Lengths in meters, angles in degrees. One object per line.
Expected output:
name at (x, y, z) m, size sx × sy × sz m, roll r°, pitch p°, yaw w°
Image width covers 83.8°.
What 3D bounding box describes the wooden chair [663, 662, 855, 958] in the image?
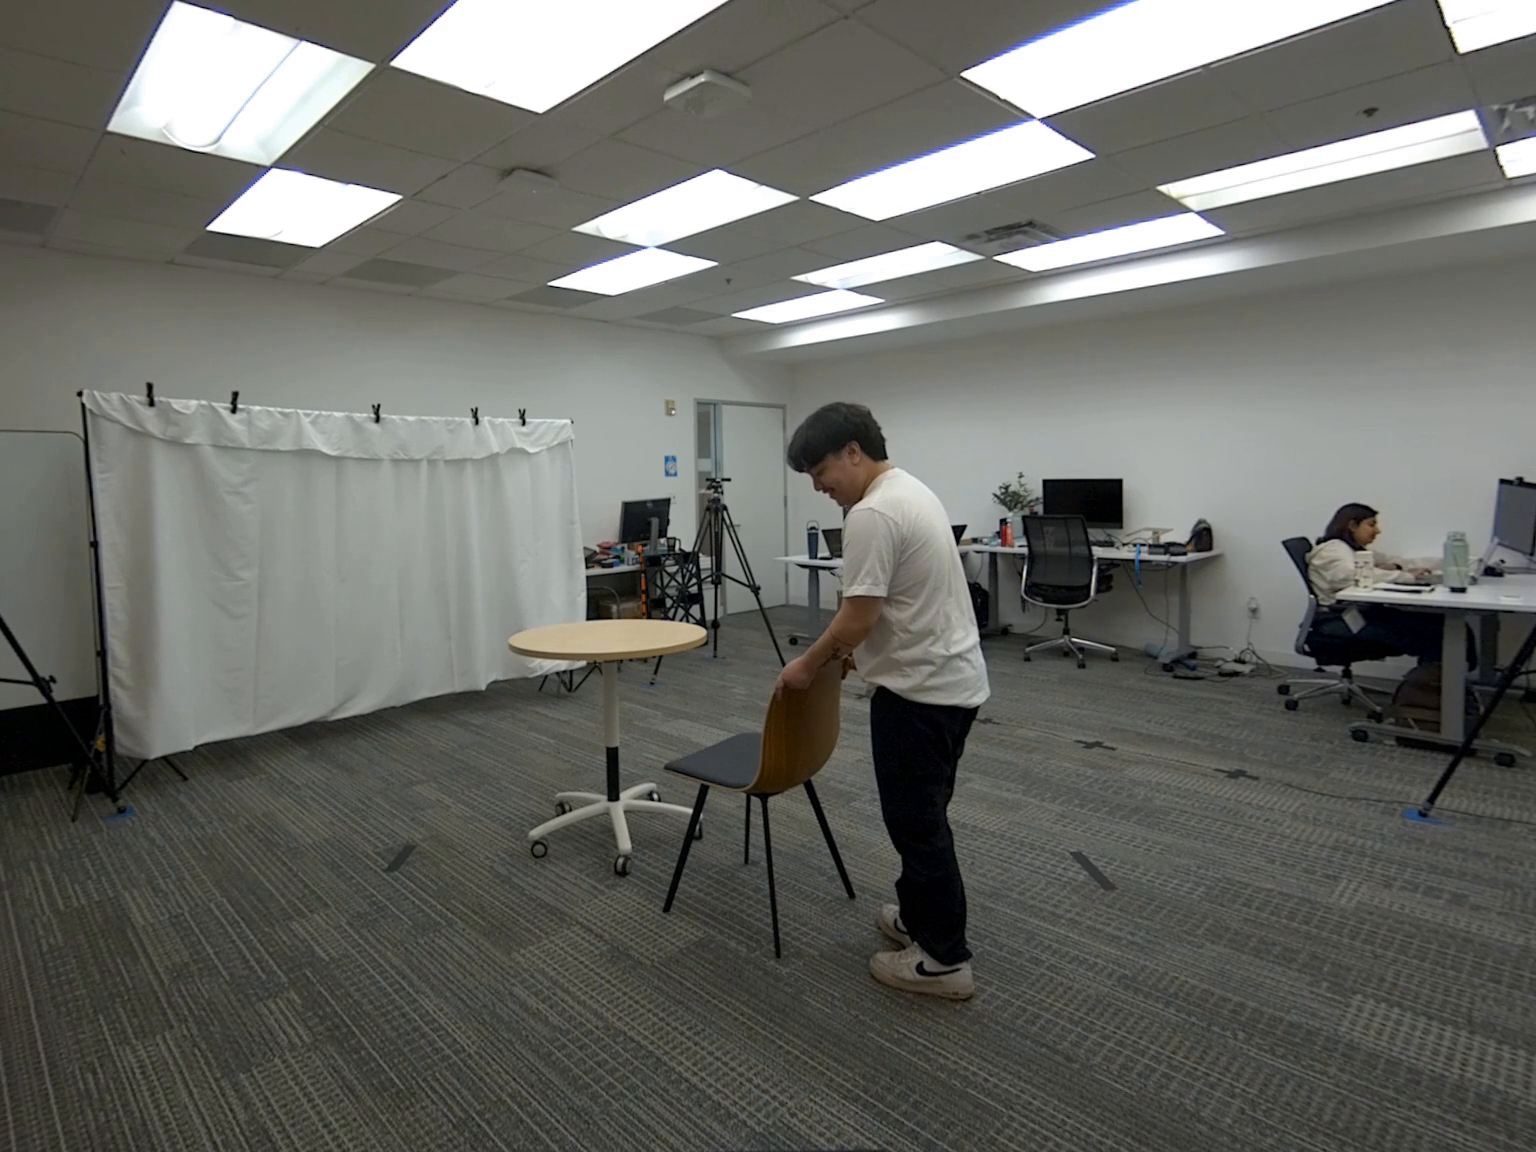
wooden chair at (-0.035, 0.651, 2.771) m, size 0.540 × 0.872 × 0.466 m, roll 8°, pitch 9°, yaw 37°
